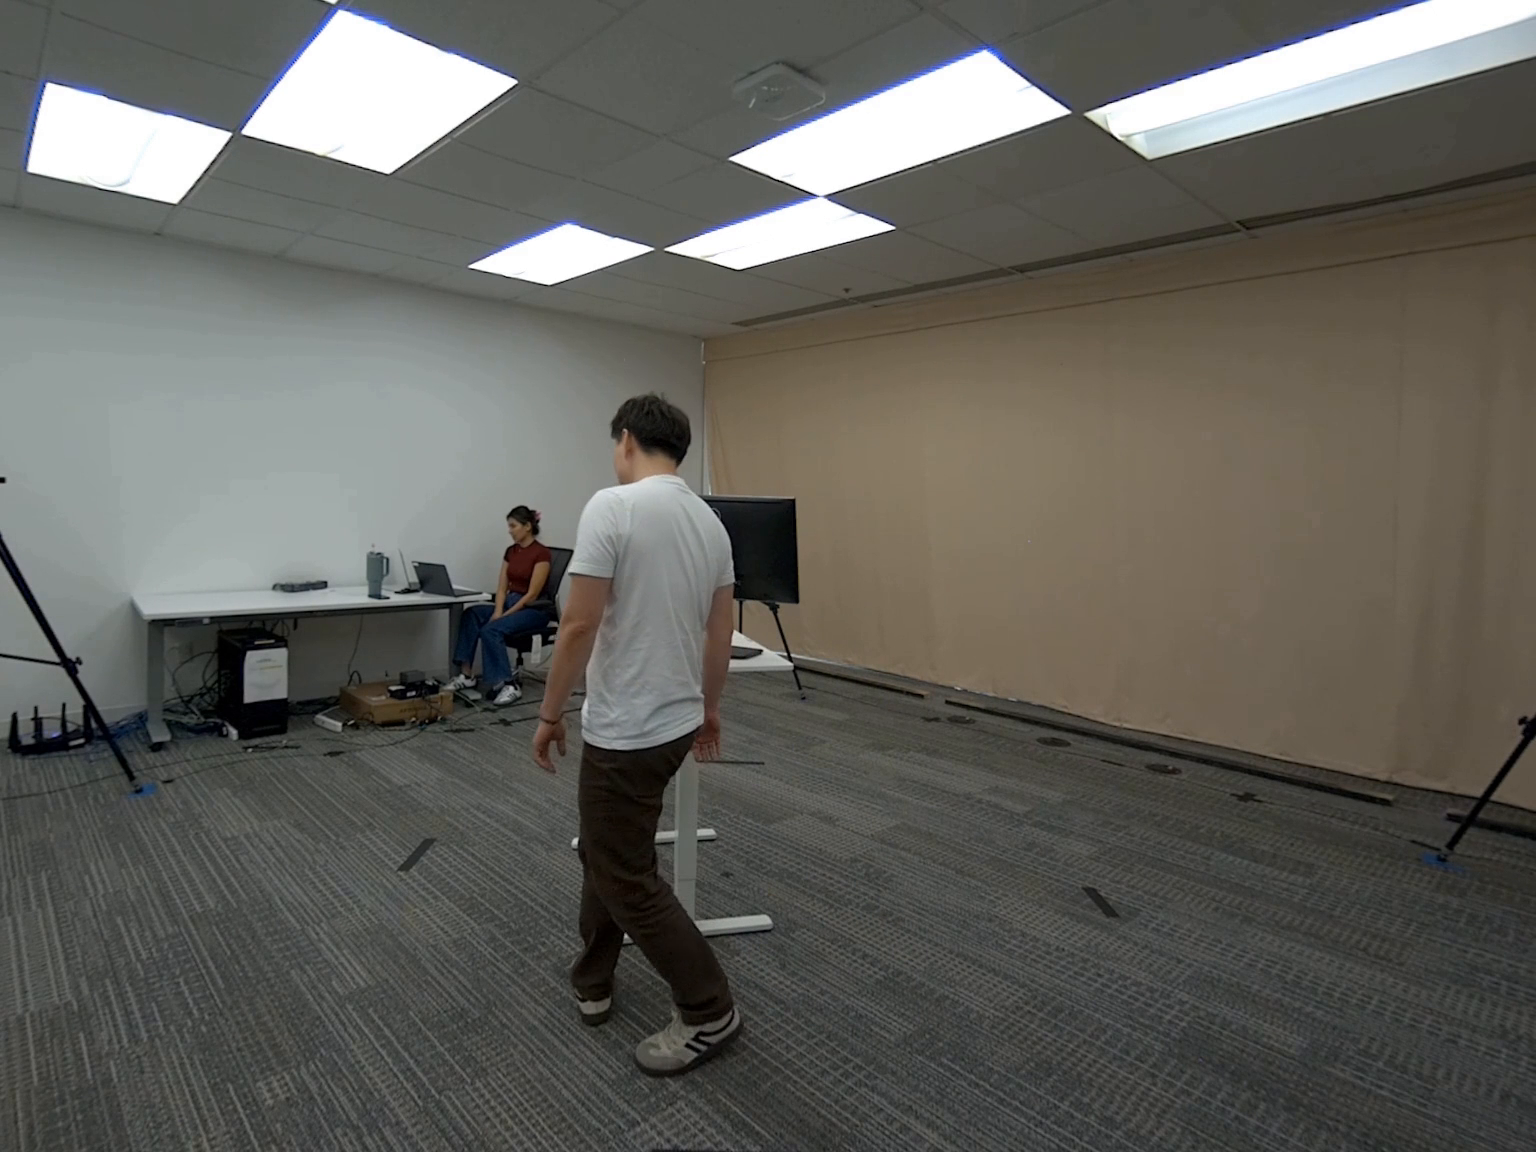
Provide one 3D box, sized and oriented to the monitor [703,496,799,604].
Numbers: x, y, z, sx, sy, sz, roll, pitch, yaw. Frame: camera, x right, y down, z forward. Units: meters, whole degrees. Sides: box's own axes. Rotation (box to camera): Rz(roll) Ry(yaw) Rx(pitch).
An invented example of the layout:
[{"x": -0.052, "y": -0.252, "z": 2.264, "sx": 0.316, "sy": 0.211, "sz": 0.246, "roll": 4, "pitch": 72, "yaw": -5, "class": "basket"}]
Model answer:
[{"x": -0.176, "y": 0.003, "z": 2.726, "sx": 0.547, "sy": 0.521, "sz": 0.185, "roll": 3, "pitch": 4, "yaw": 19, "class": "monitor"}]
